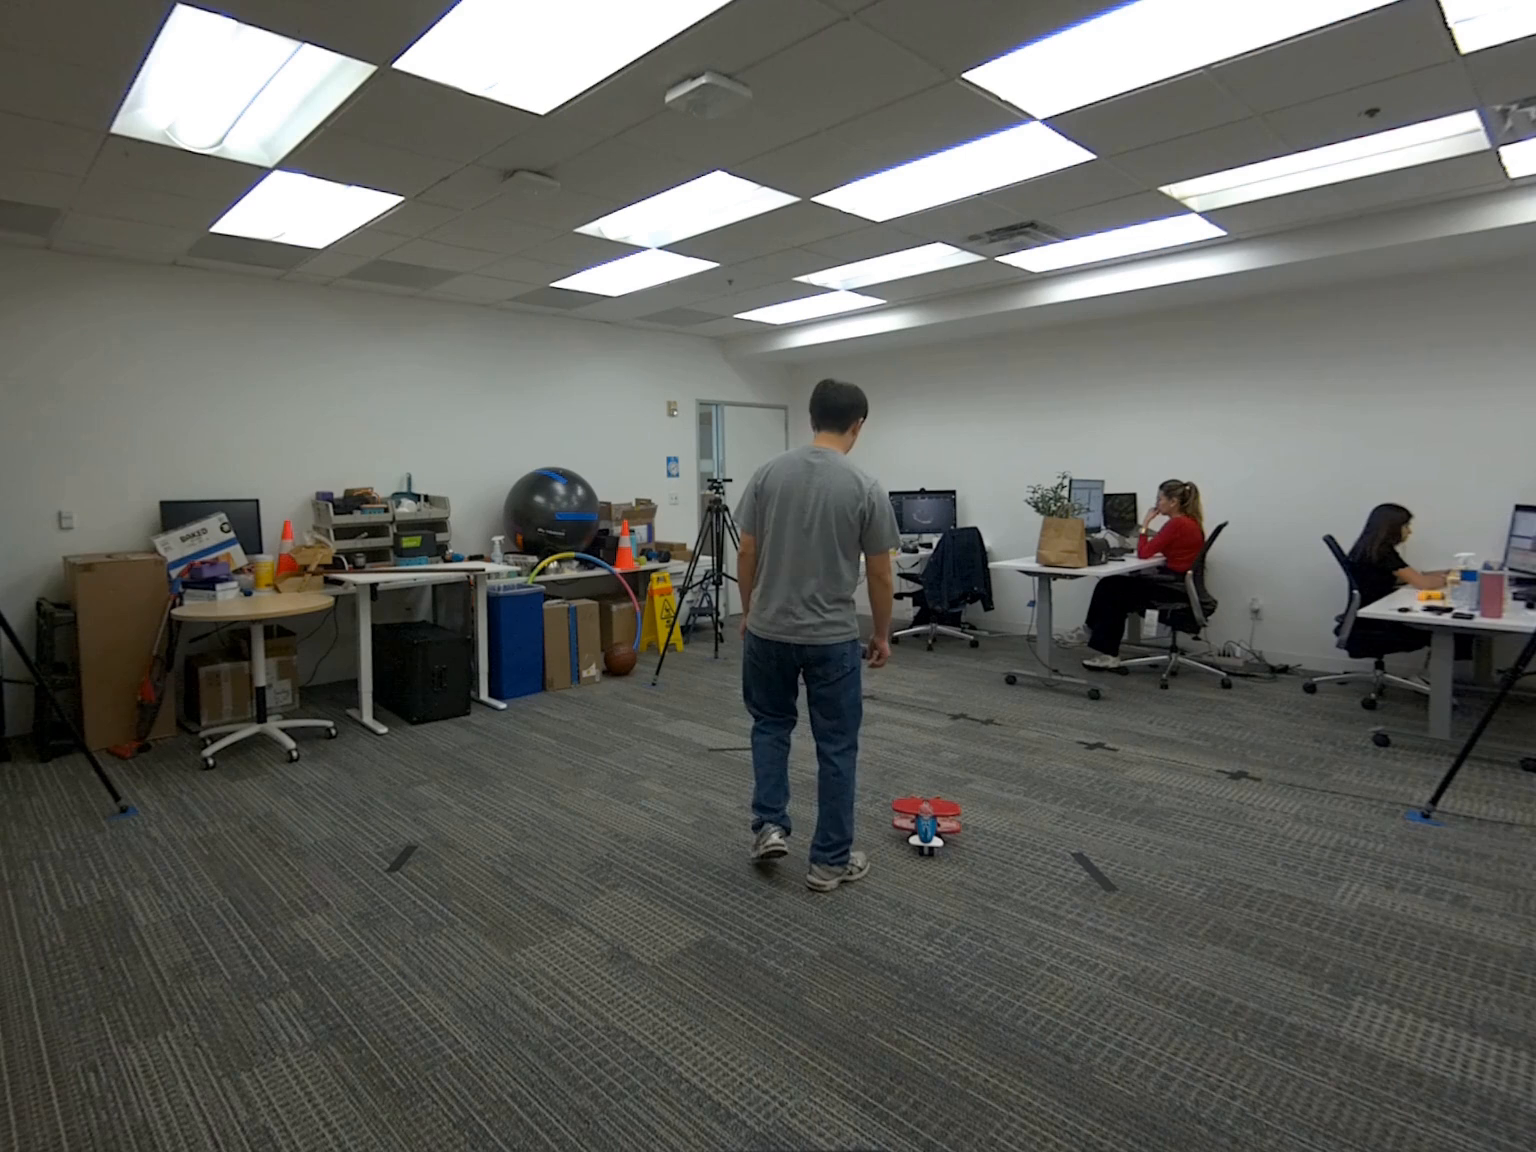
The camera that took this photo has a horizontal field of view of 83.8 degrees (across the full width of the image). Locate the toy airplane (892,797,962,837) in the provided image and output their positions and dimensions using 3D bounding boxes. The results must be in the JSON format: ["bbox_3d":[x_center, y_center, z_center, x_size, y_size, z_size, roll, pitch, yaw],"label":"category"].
[{"bbox_3d":[0.622,0.944,3.233,0.247,0.156,0.264,-2,5,-17],"label":"toy airplane"}]
